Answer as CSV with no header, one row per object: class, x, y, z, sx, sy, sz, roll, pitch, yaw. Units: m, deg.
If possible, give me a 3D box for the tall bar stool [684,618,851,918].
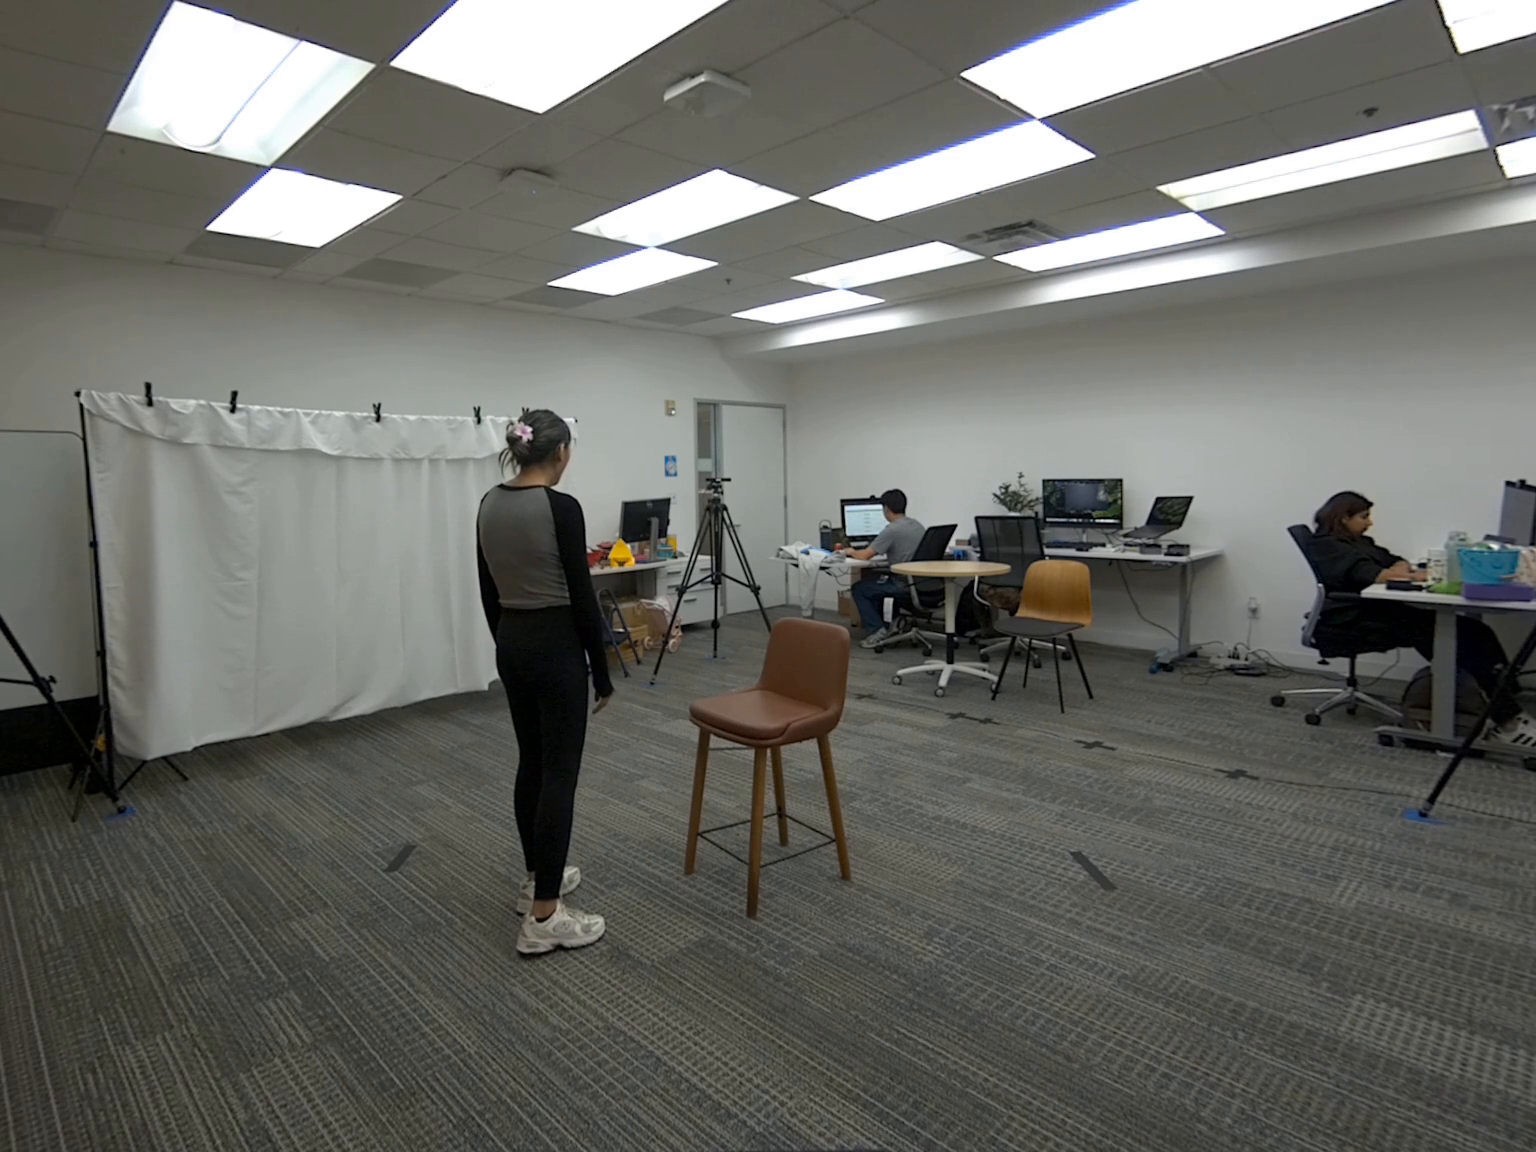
tall bar stool,0.002,0.620,2.973,0.455,0.887,0.470,-2,4,-36
